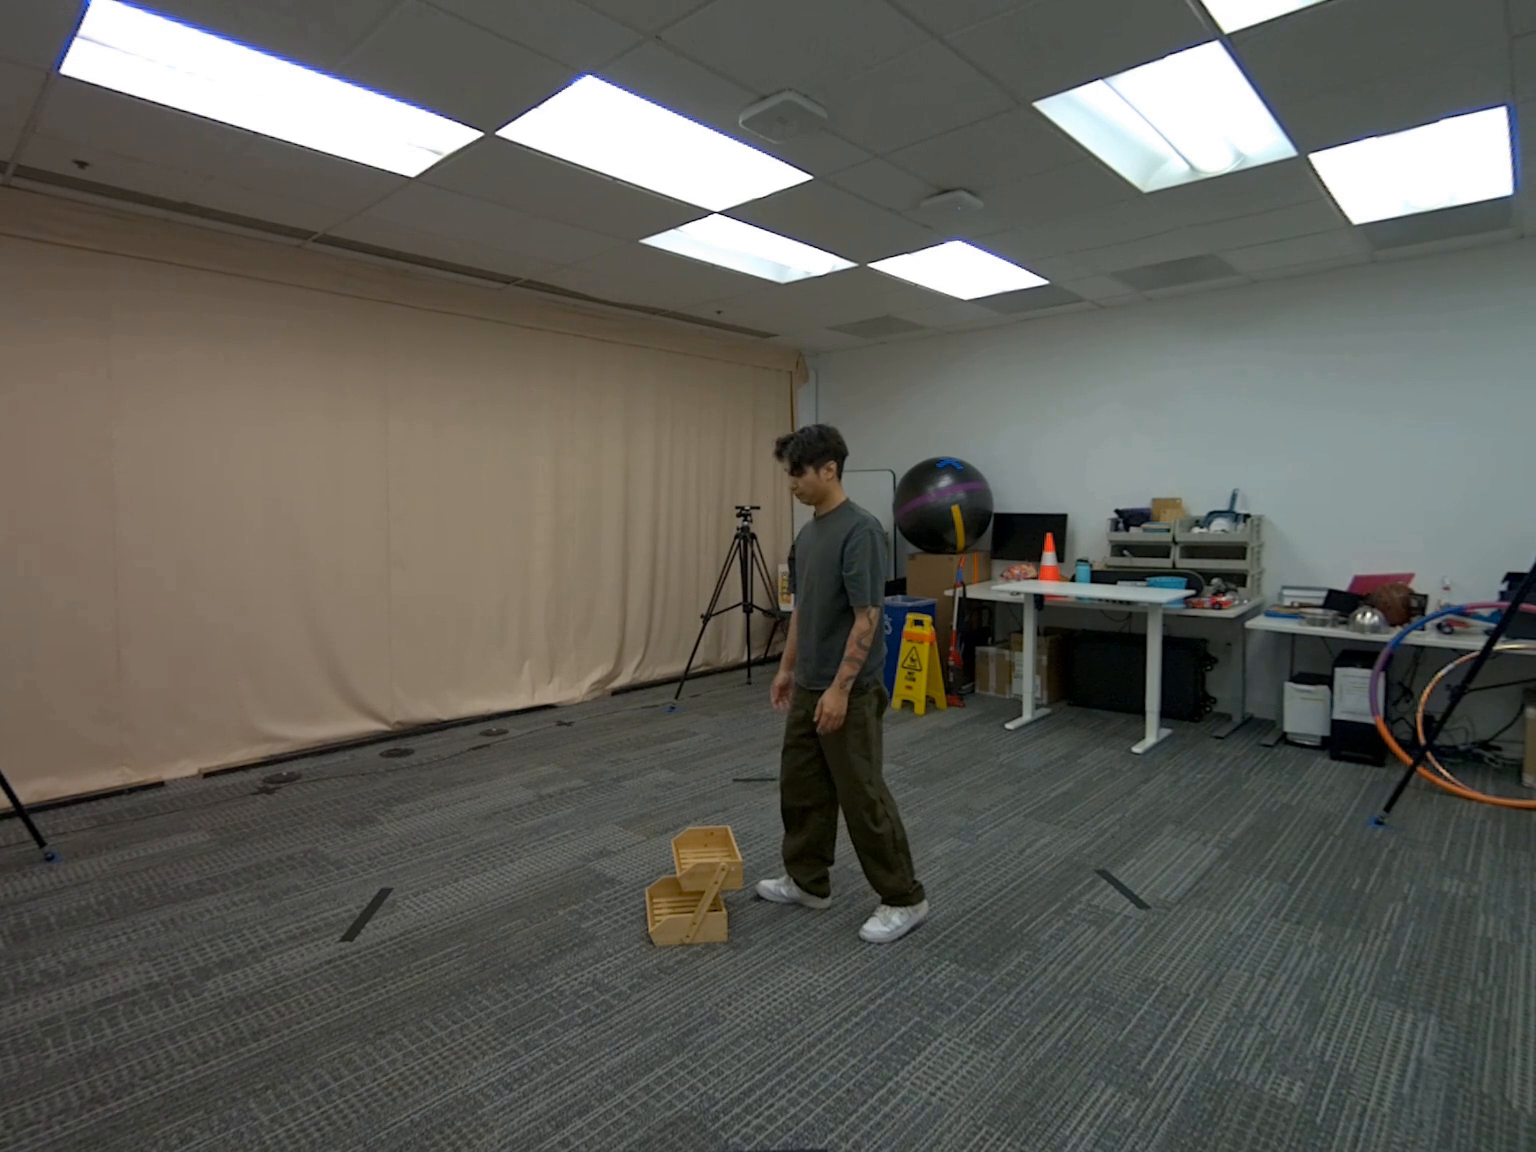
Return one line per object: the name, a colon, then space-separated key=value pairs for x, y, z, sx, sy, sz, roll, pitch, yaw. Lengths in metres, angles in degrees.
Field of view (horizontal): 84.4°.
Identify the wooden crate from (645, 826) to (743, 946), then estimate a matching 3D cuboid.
wooden crate: x=-0.255 y=1.027 z=2.822 sx=0.299 sy=0.273 sz=0.328 roll=-1 pitch=3 yaw=-10
